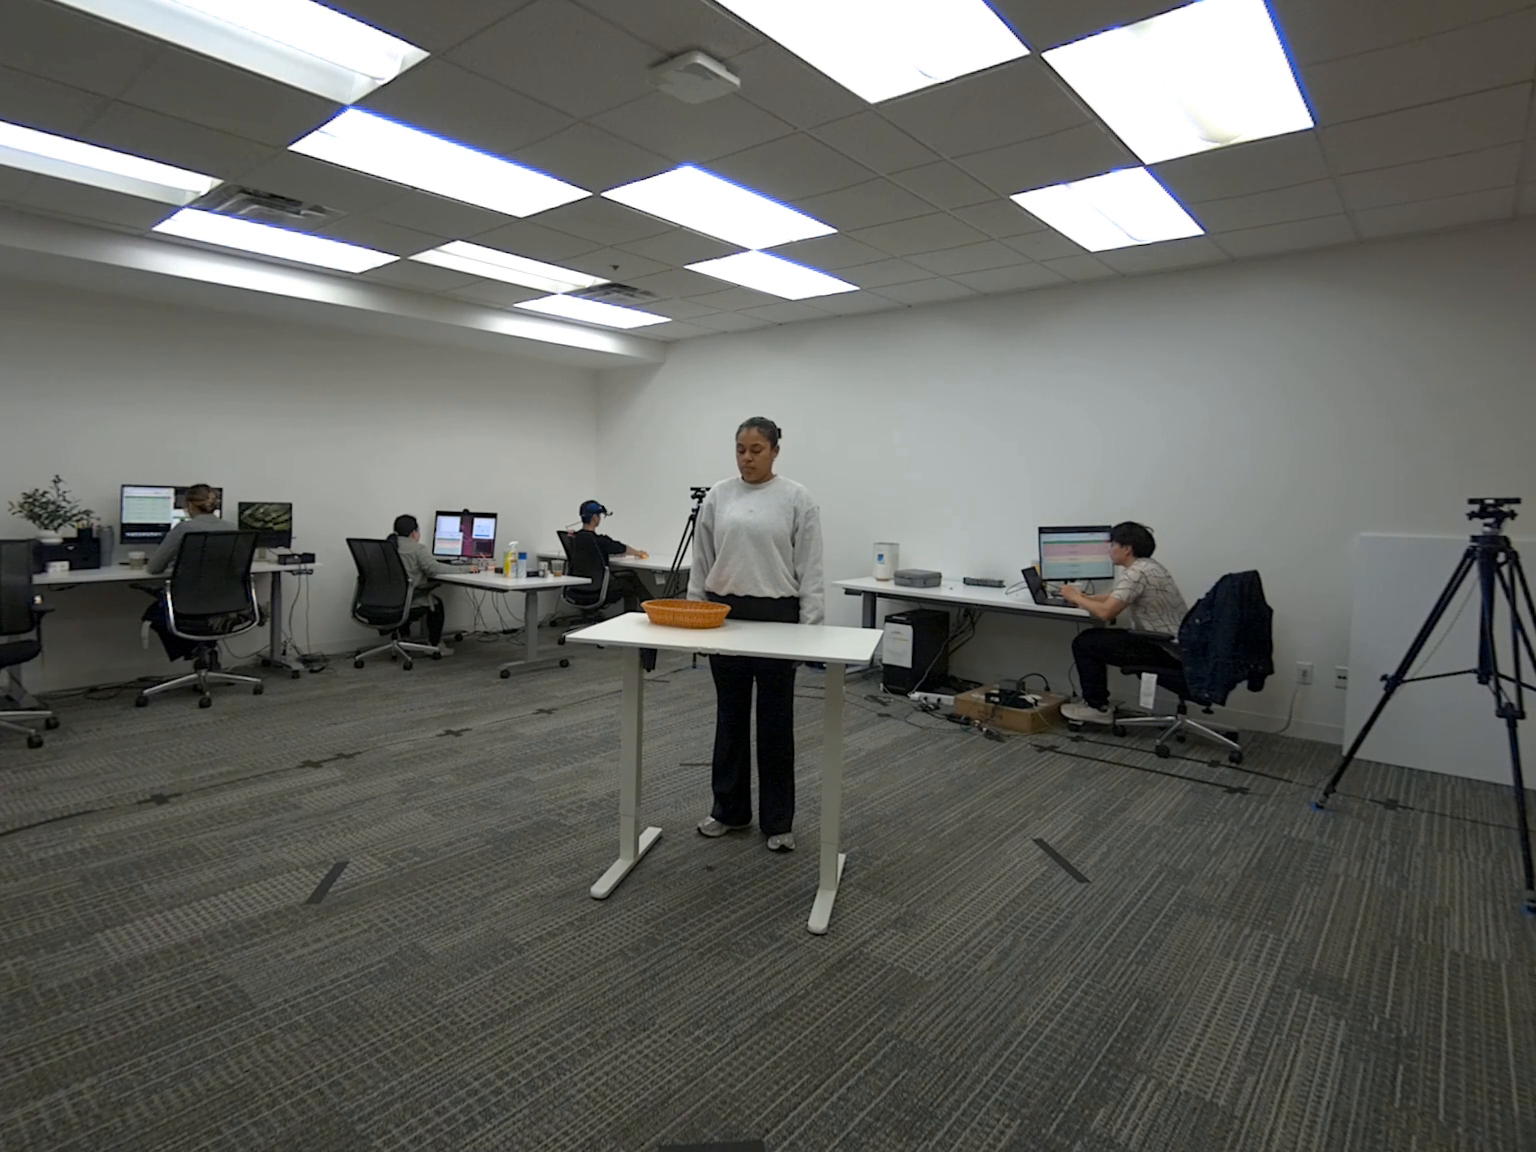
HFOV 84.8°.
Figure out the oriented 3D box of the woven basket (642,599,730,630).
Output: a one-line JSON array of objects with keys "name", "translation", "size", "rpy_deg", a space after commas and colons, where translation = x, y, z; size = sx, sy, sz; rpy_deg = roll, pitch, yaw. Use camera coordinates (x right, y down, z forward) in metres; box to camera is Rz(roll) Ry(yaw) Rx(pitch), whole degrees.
[{"name": "woven basket", "translation": [-0.318, 0.146, 3.170], "size": [0.360, 0.073, 0.247], "rpy_deg": [4, 7, 26]}]
